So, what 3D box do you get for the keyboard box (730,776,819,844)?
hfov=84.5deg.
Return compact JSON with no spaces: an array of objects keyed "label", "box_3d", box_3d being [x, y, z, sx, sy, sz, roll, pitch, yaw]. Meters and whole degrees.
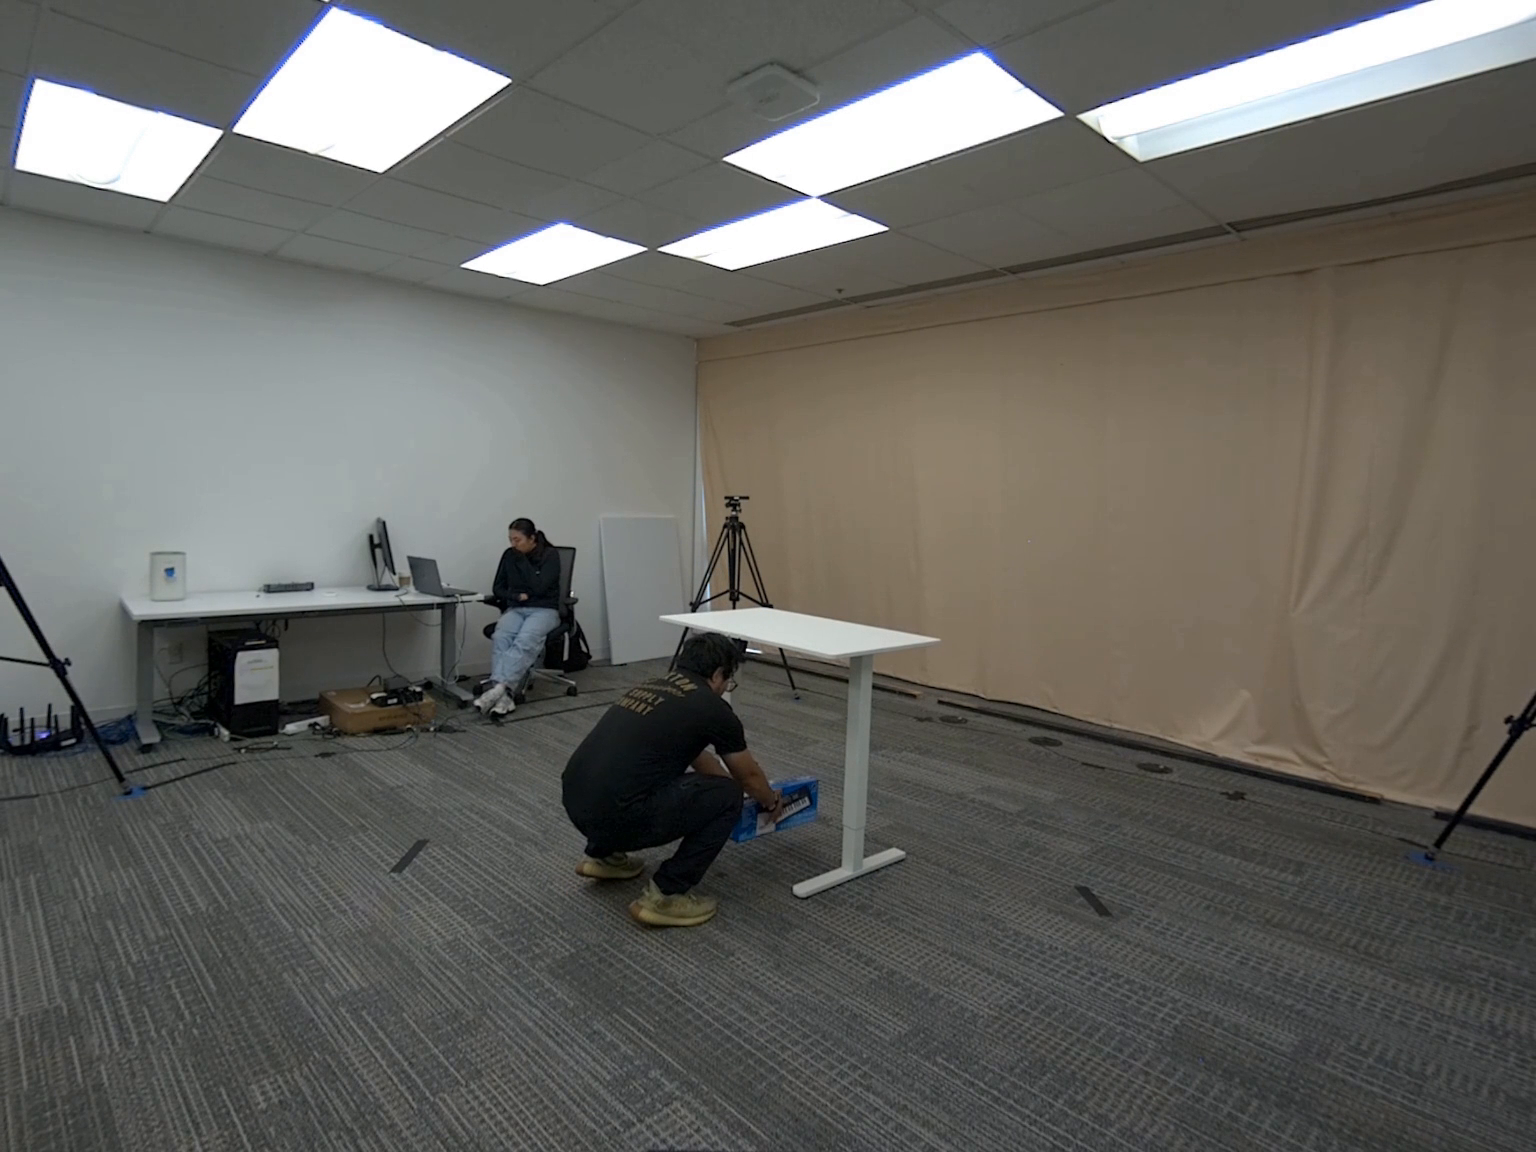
[{"label":"keyboard box","box_3d":[0.028,0.927,3.353,0.426,0.175,0.060,-1,4,-43]}]
